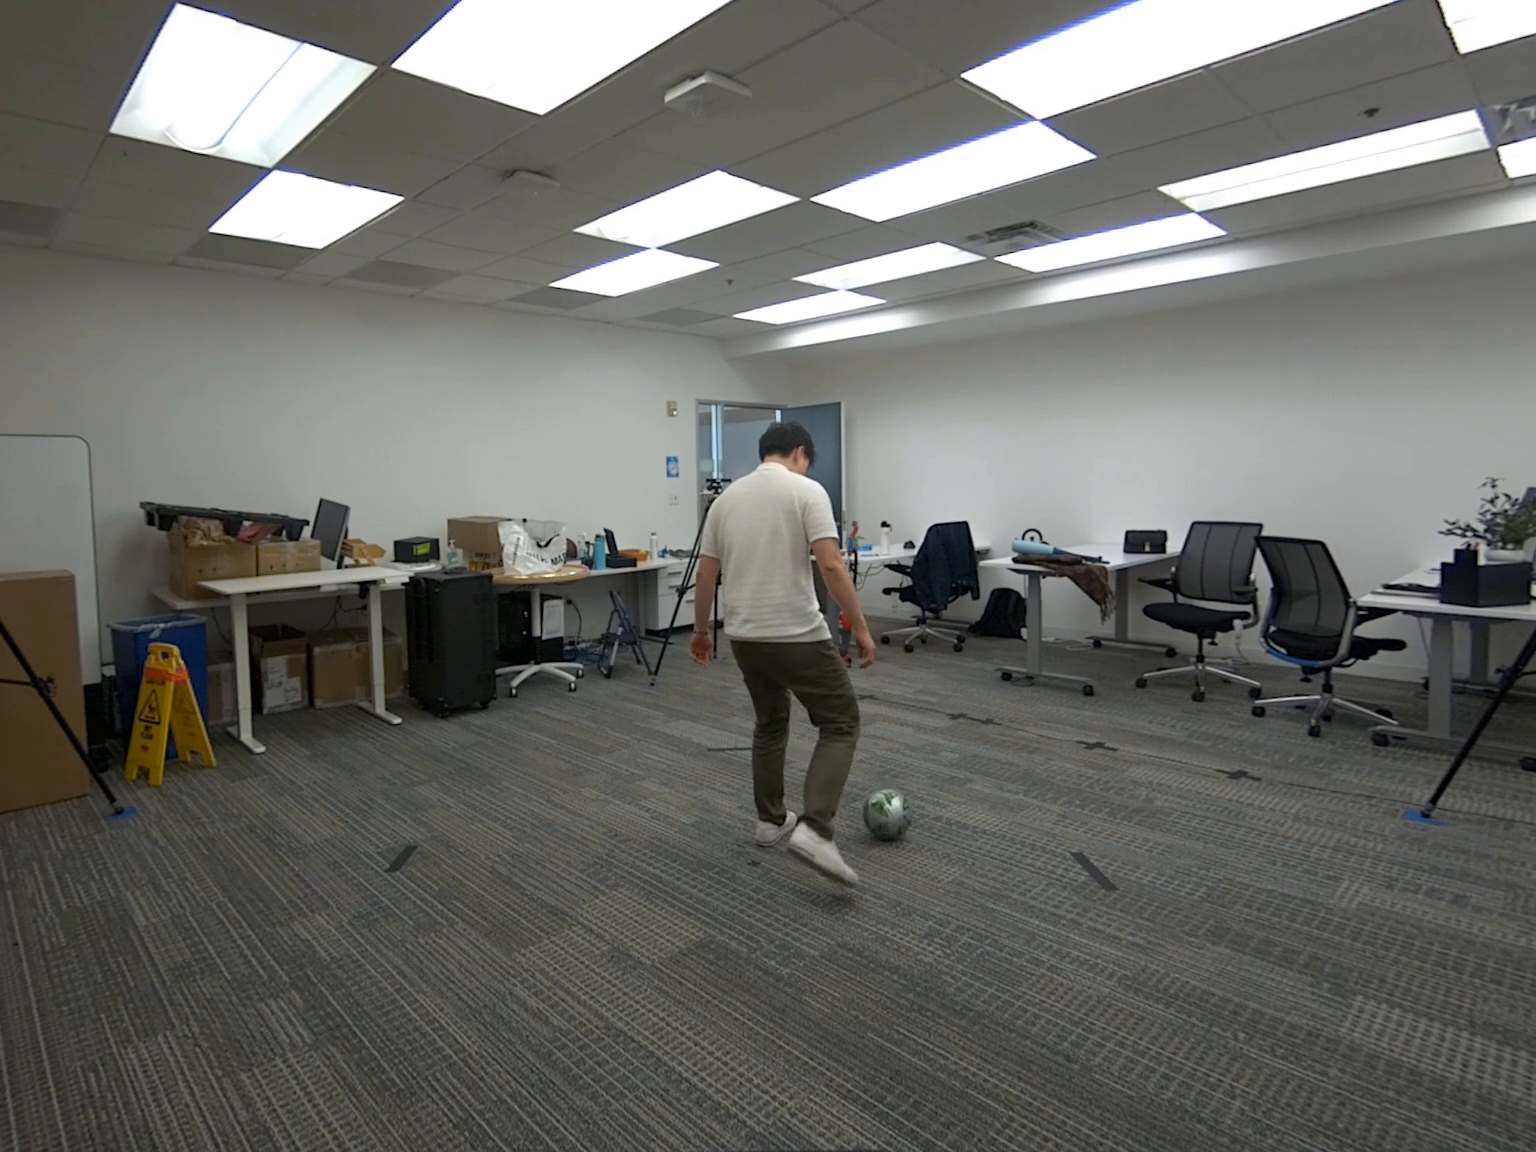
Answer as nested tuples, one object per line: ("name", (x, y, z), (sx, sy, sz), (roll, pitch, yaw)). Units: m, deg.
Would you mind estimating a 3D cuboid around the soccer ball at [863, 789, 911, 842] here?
("soccer ball", (0.454, 0.915, 3.297), (0.187, 0.187, 0.188), (-1, 5, -2))
